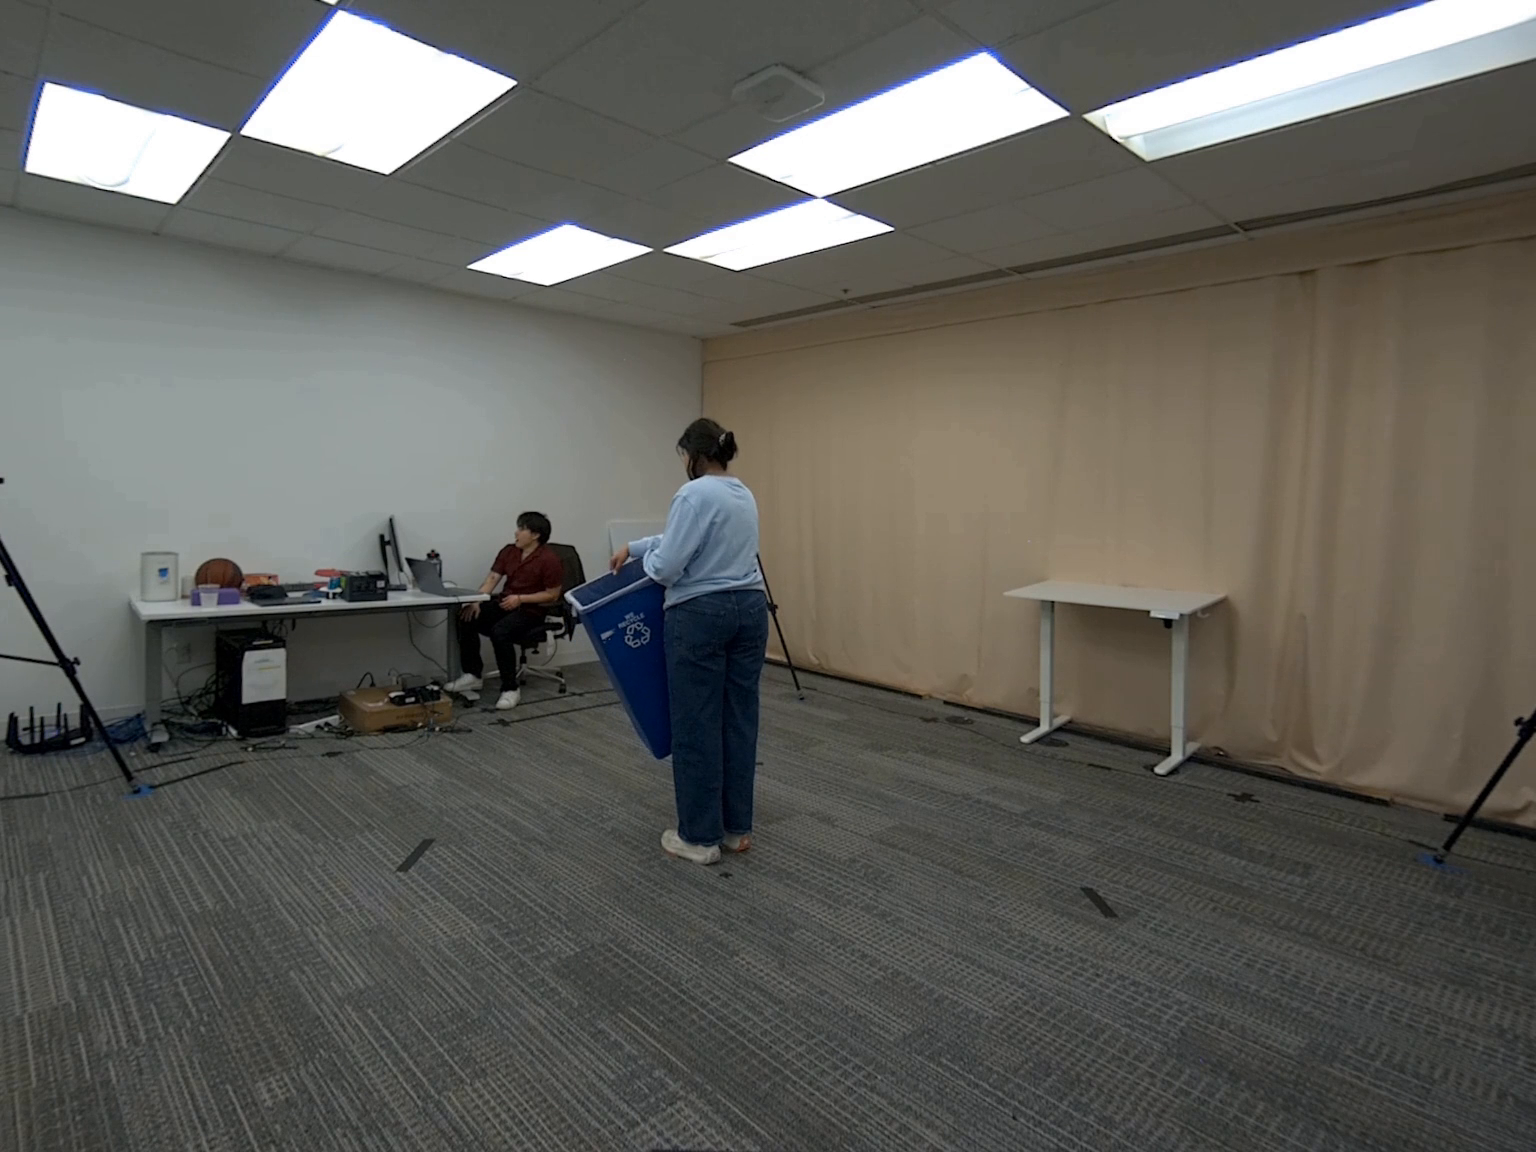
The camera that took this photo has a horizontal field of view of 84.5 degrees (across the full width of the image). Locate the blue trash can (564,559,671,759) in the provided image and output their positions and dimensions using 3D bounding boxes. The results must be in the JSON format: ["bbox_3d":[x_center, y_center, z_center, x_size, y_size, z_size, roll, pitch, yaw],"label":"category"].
[{"bbox_3d":[-0.500,0.334,3.465,0.372,0.702,0.386,-26,17,-16],"label":"blue trash can"}]
